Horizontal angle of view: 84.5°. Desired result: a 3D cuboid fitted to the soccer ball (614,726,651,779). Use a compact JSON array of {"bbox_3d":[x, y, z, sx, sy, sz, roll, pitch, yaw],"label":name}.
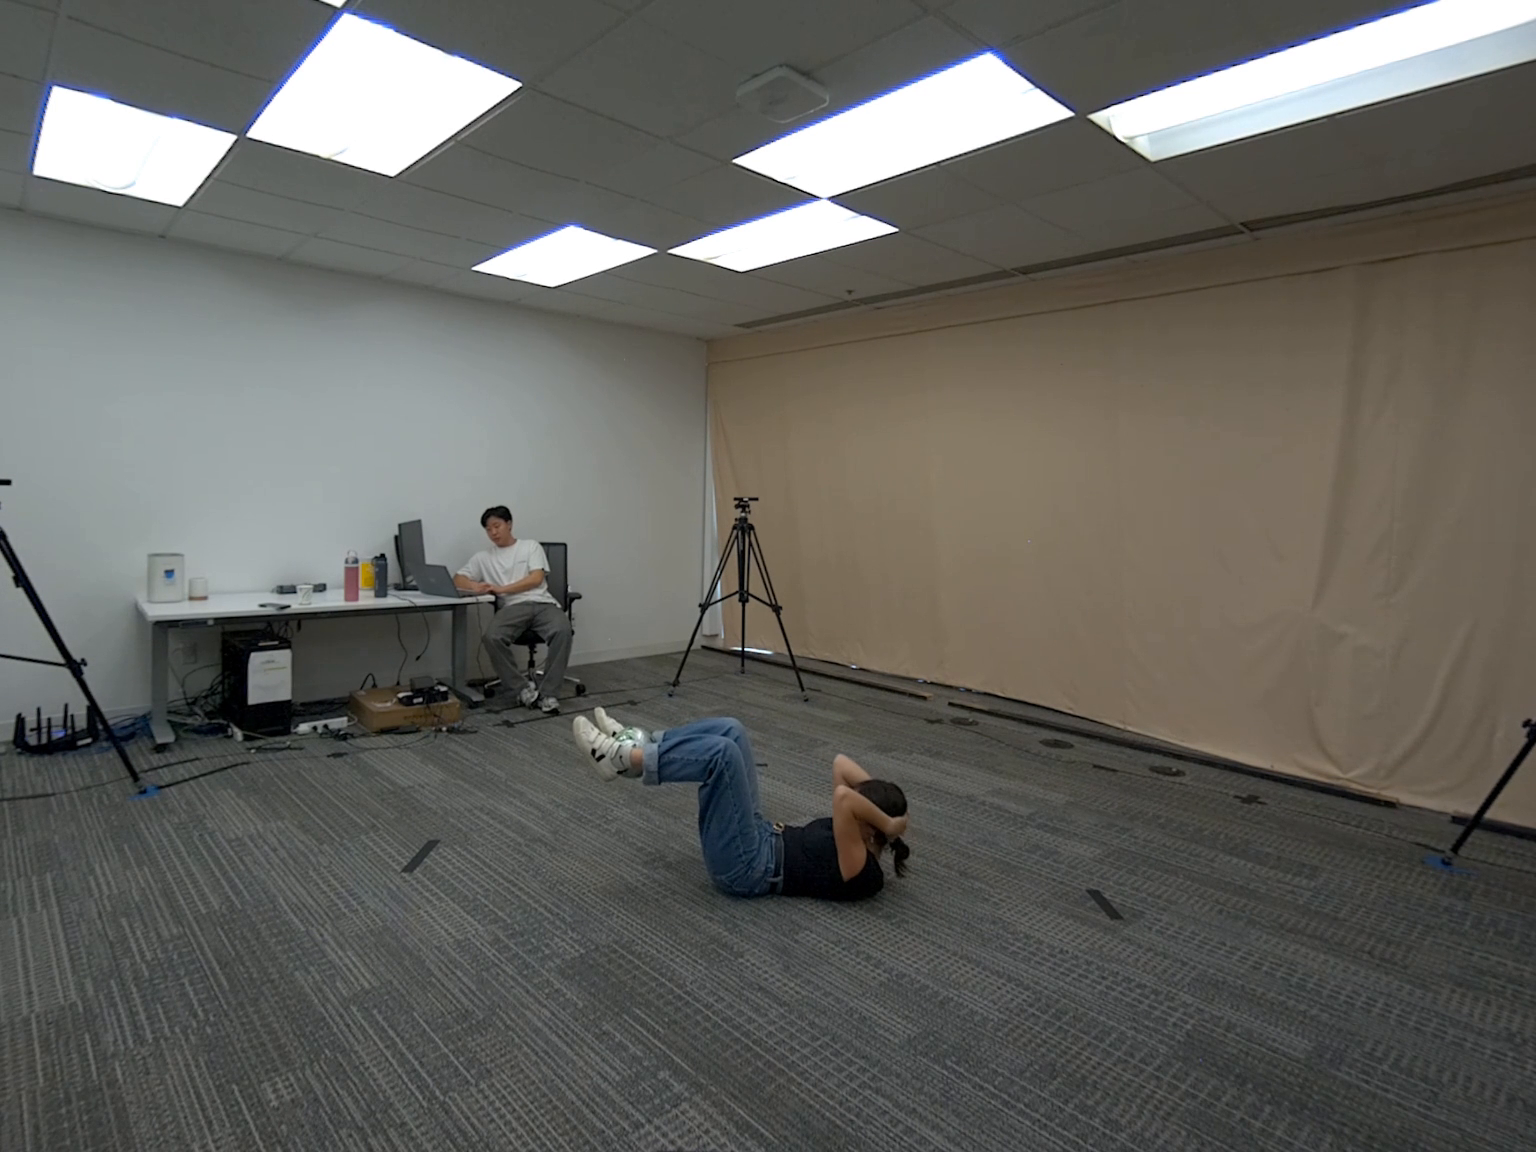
[{"bbox_3d":[-0.513,0.658,3.098,0.187,0.186,0.188,1,7,-1],"label":"soccer ball"}]
